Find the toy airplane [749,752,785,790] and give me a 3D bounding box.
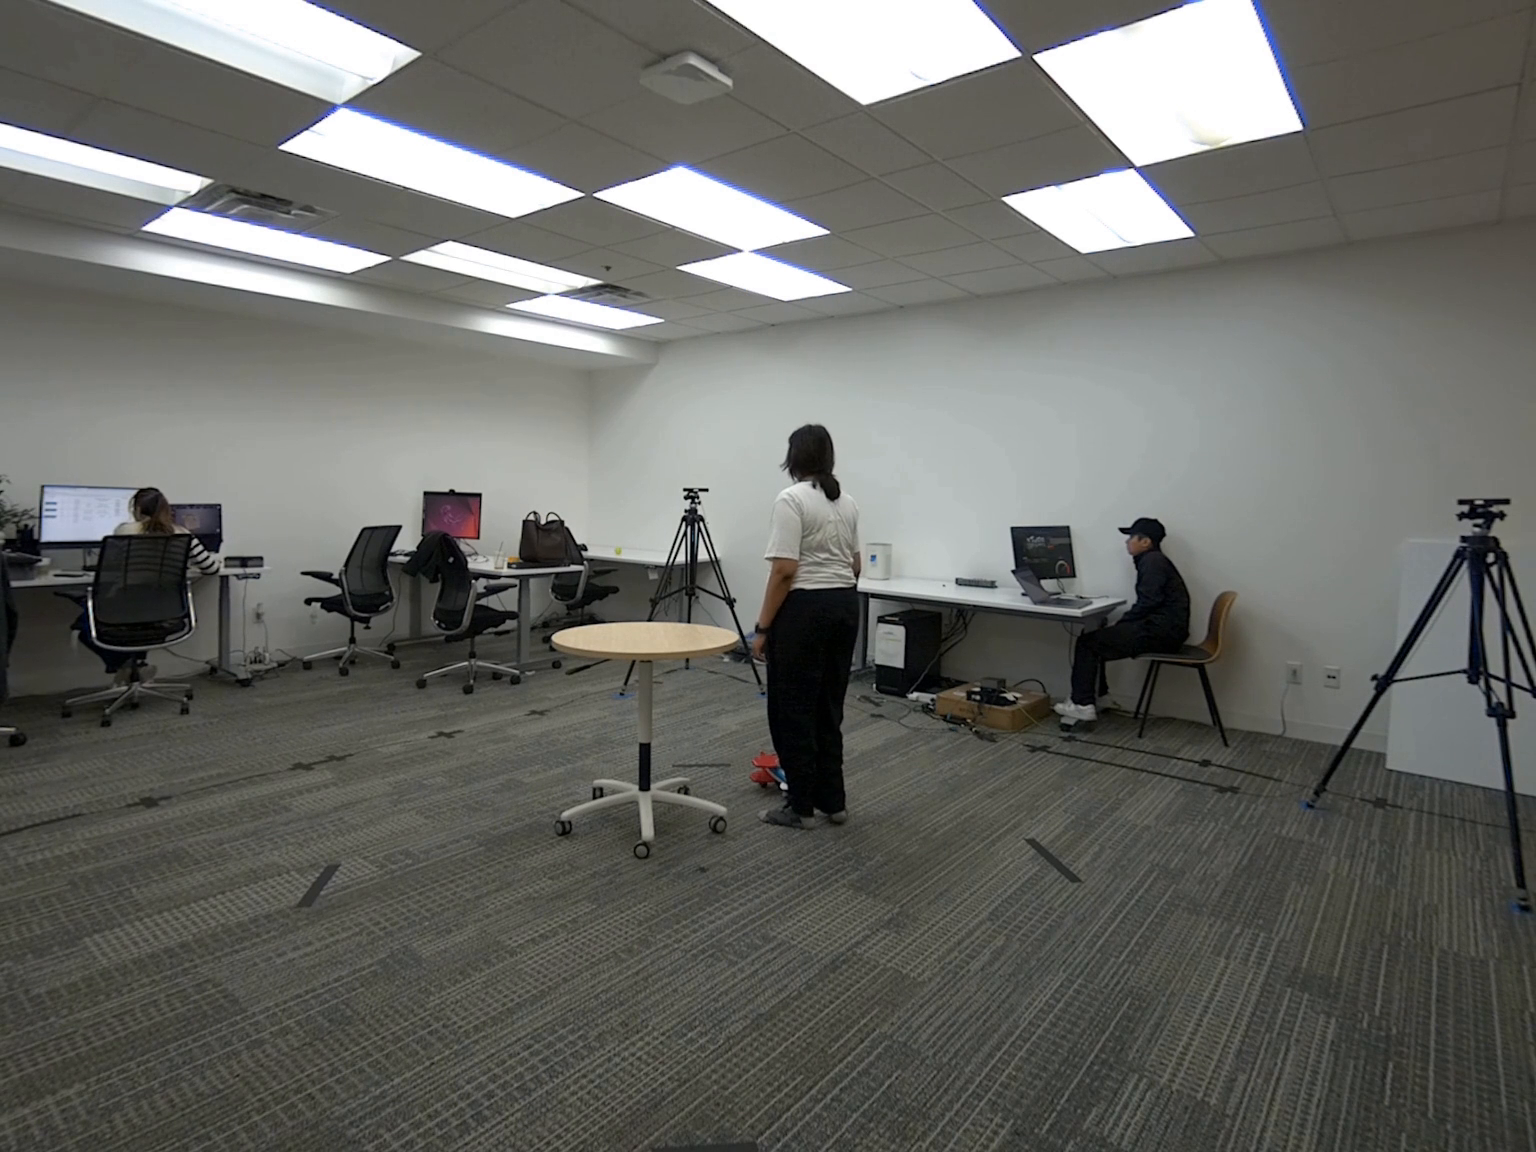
[{"bbox_3d":[0.060,0.920,3.962,0.267,0.156,0.244,3,5,34],"label":"toy airplane"}]
